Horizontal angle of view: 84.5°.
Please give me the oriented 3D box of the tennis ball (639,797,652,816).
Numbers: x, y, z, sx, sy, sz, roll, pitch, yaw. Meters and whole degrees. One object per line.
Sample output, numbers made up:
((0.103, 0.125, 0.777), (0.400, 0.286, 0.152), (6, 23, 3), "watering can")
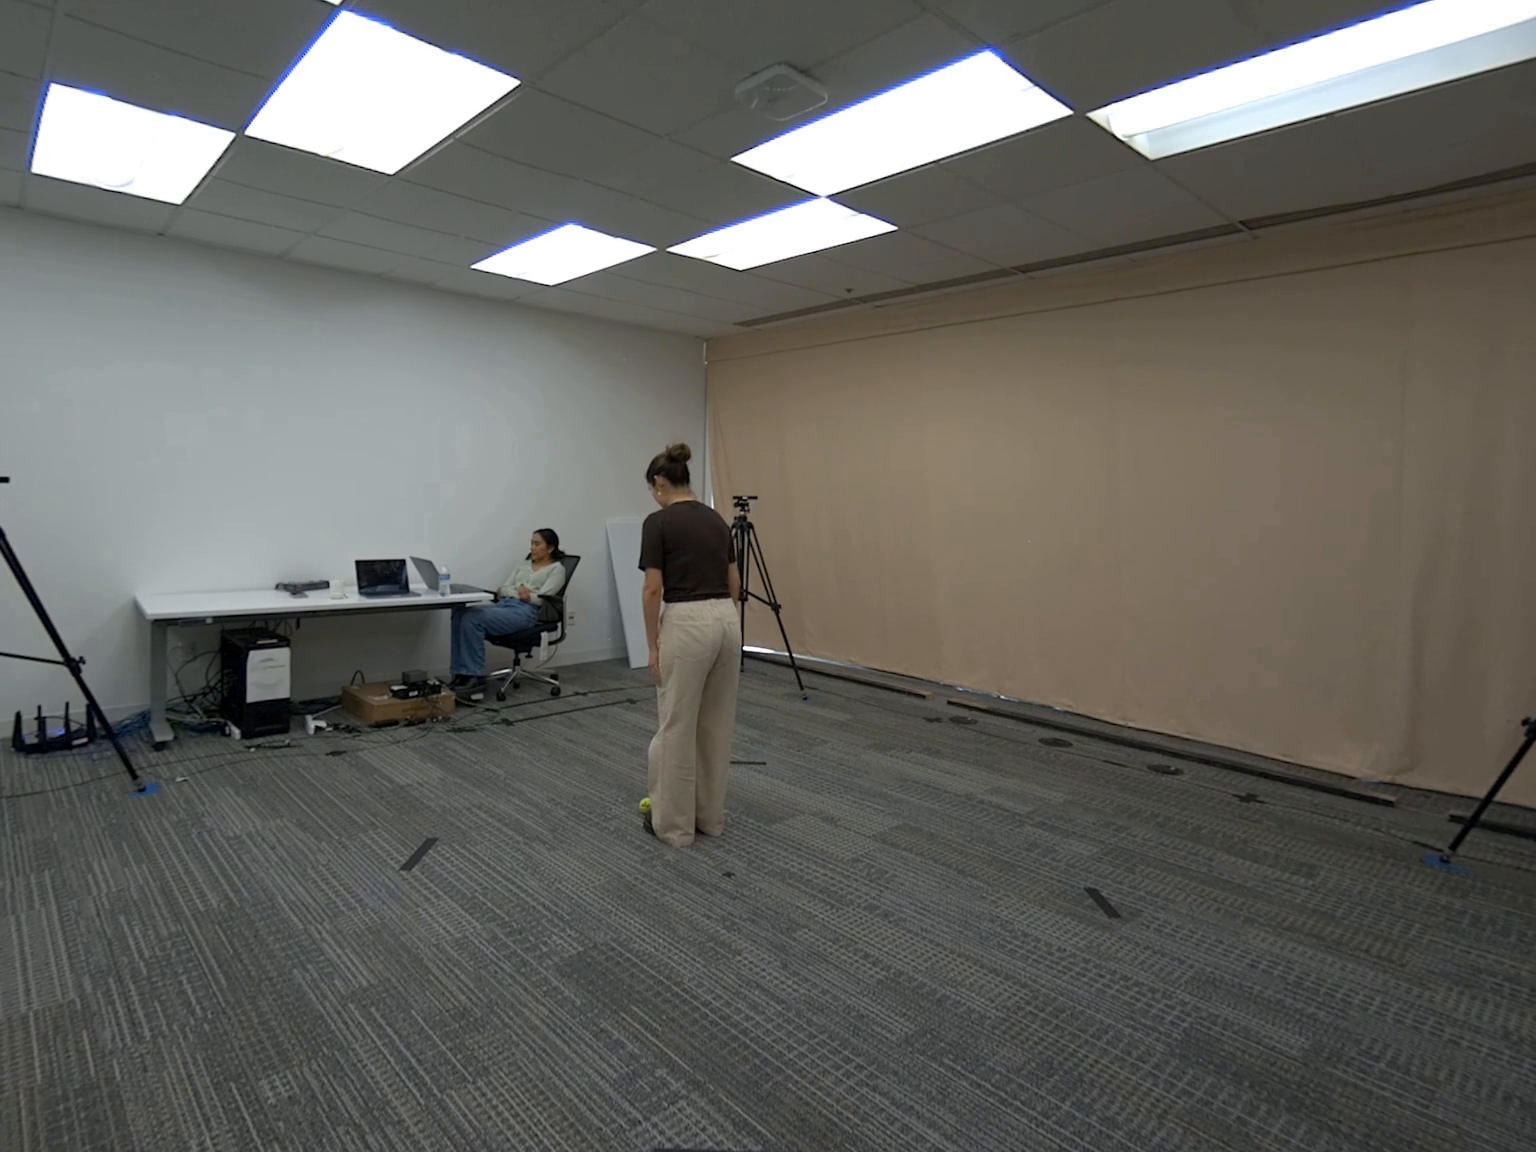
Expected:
((-0.526, 0.984, 3.677), (0.066, 0.066, 0.067), (1, 4, -1), "tennis ball")
